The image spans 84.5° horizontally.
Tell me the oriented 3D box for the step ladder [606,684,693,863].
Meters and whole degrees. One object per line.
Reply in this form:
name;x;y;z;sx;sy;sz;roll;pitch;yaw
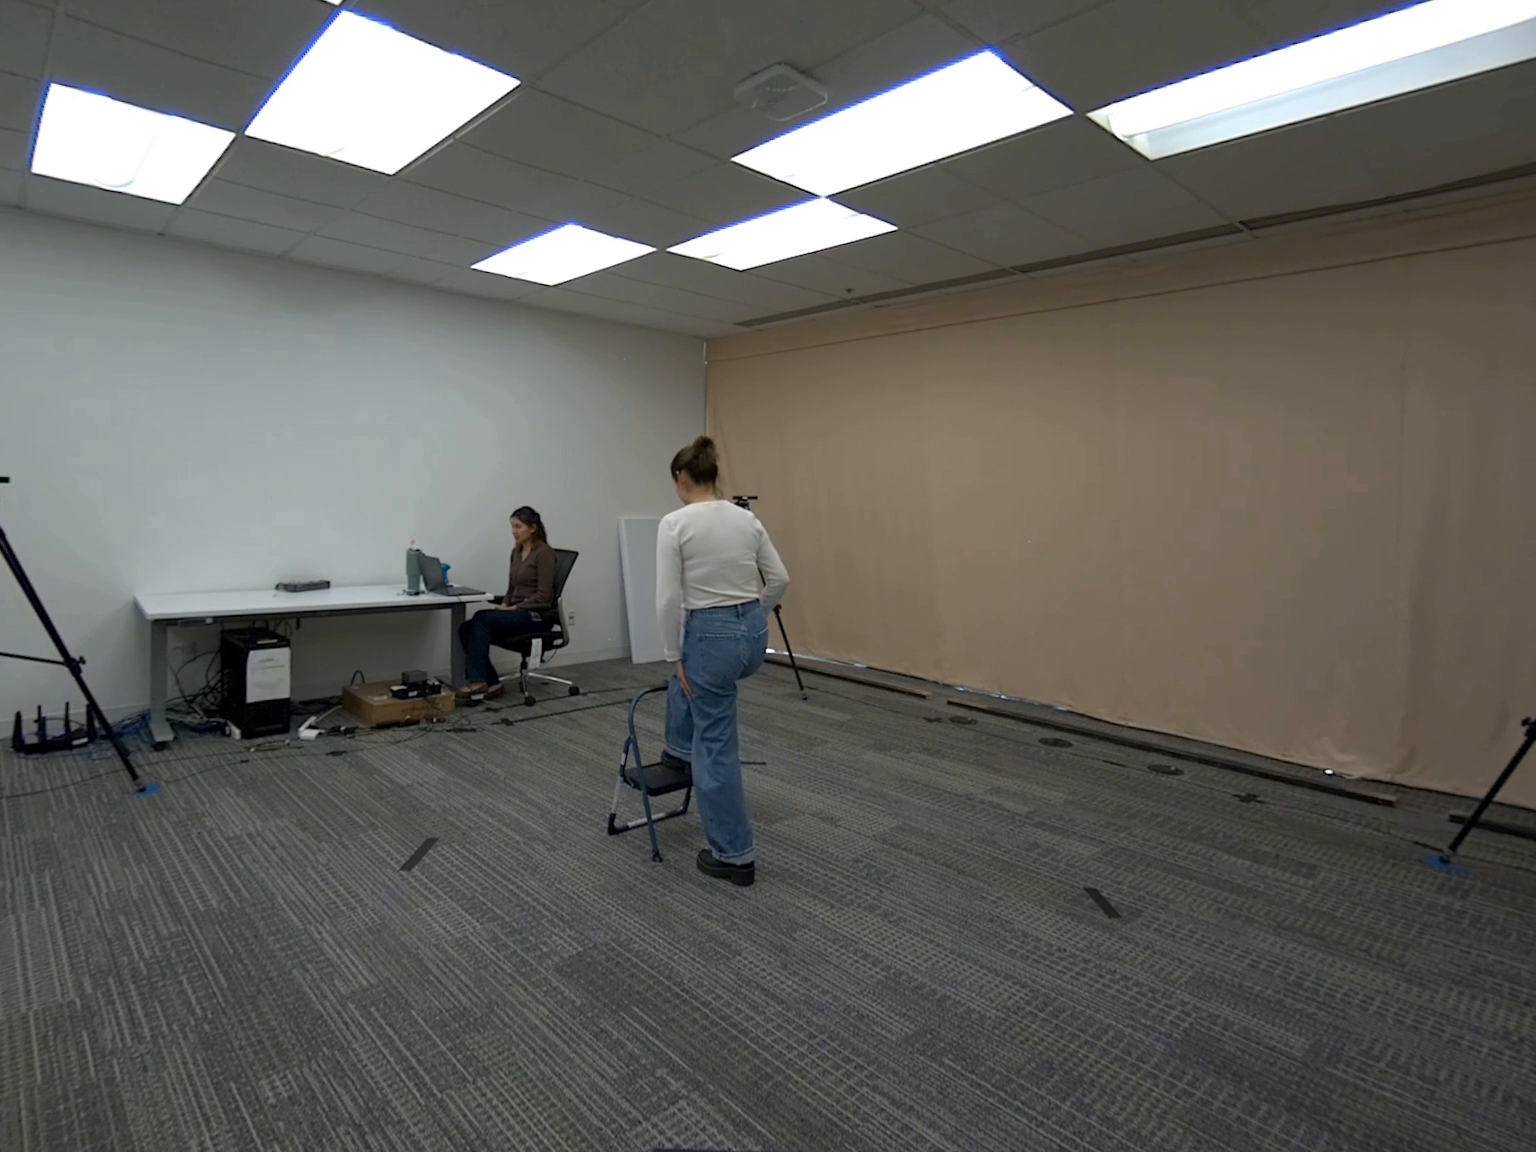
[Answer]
step ladder;-0.393;0.764;3.448;0.421;0.604;0.358;-2;5;-45
